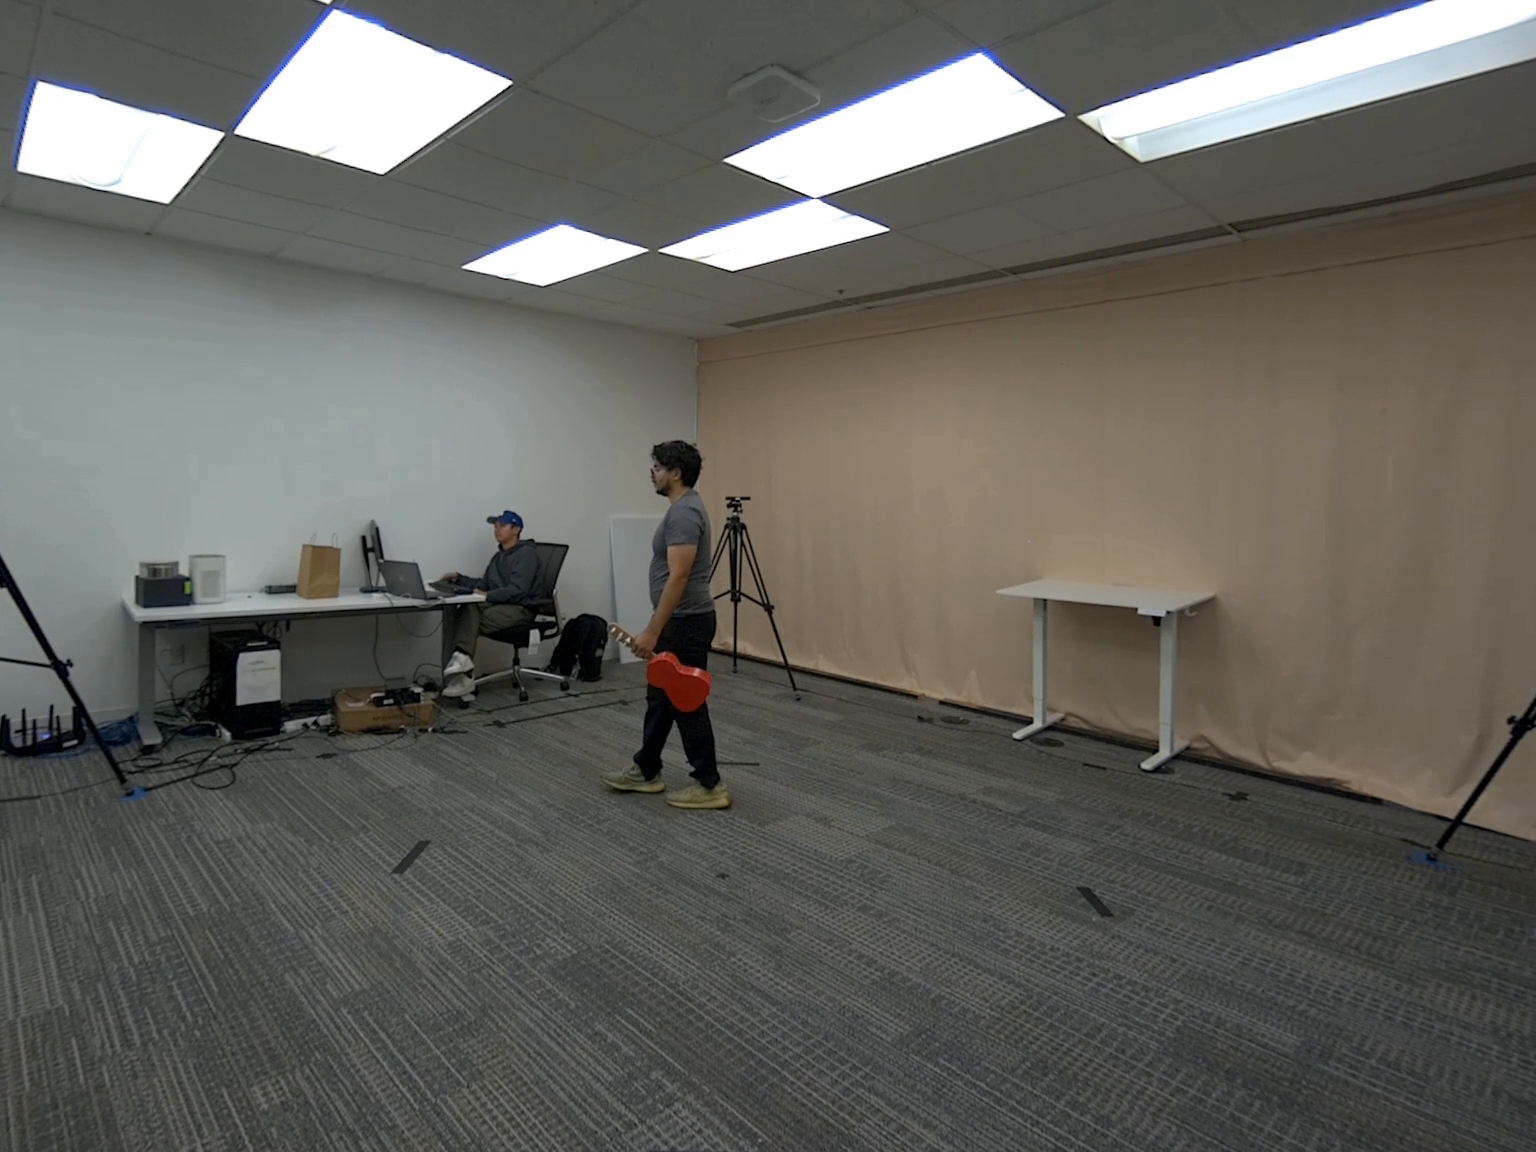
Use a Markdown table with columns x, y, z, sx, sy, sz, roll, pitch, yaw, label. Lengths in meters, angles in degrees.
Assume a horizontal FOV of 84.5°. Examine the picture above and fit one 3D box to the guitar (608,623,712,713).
| x | y | z | sx | sy | sz | roll | pitch | yaw | label |
| --- | --- | --- | --- | --- | --- | --- | --- | --- | --- |
| -0.495 | 0.386 | 3.514 | 0.497 | 0.192 | 0.071 | 29 | 25 | -2 | guitar |
